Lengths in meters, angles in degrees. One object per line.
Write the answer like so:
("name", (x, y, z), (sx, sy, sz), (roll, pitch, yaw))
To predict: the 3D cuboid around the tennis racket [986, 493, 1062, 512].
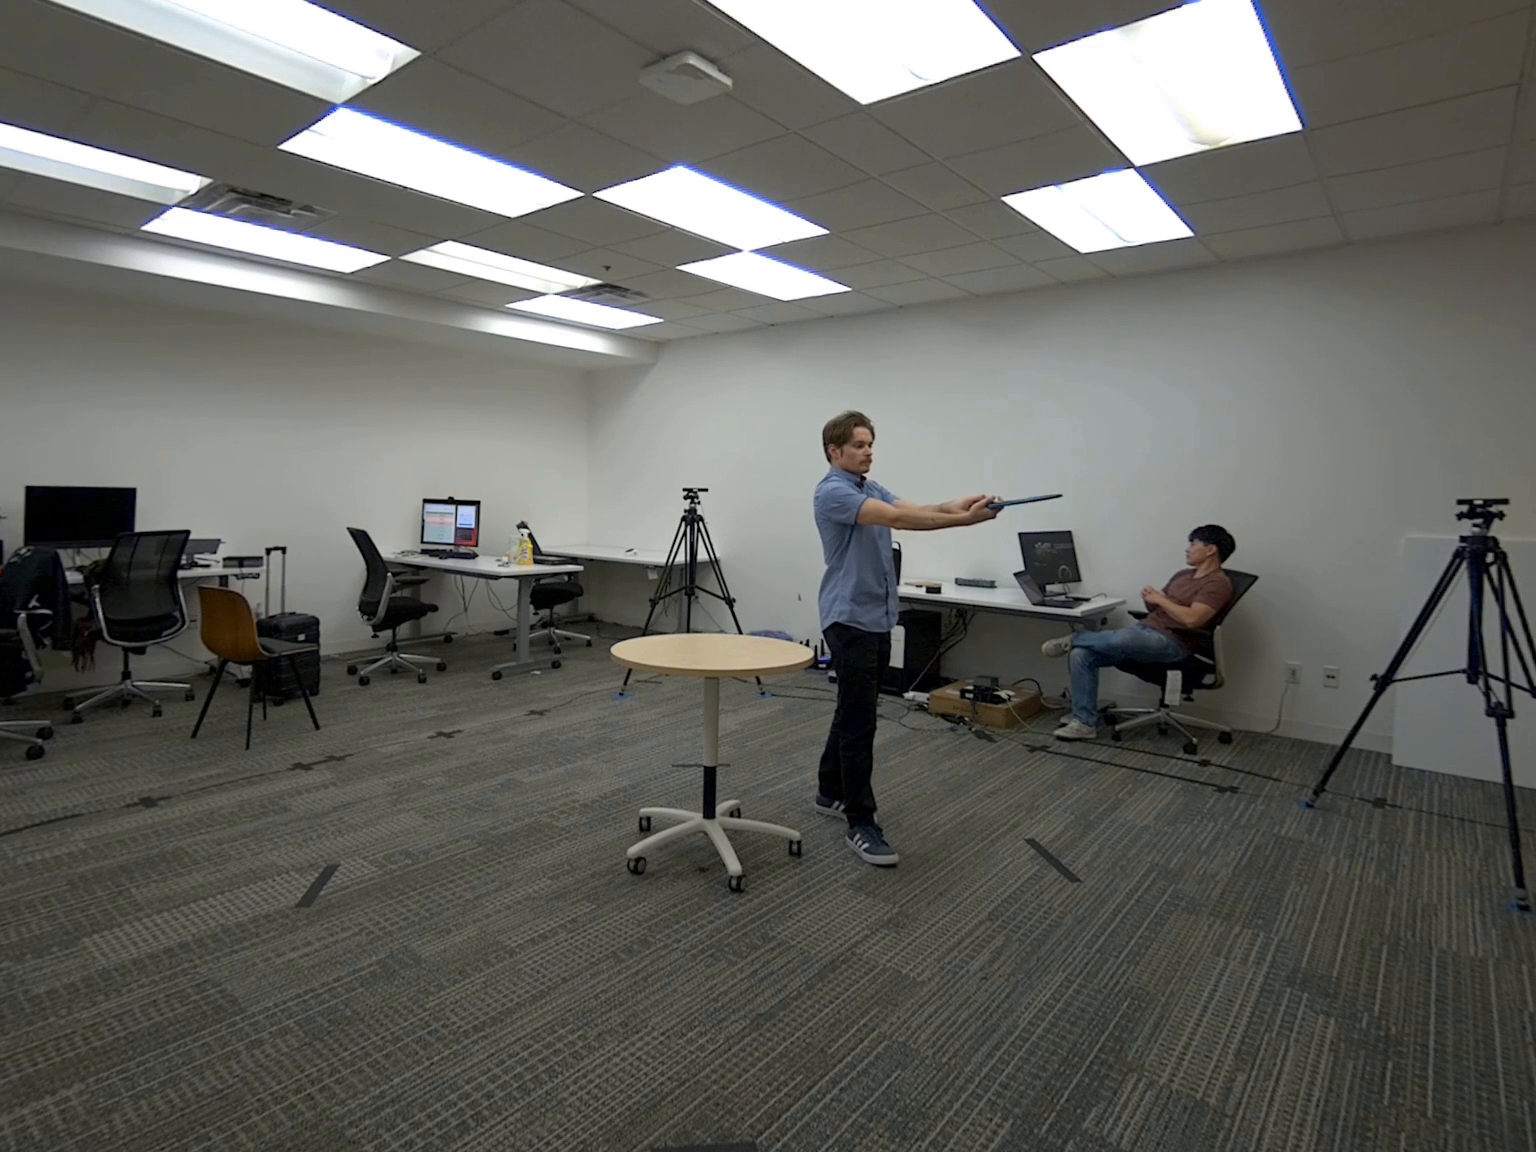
("tennis racket", (0.811, -0.256, 2.921), (0.210, 0.032, 0.441), (-12, 3, -21))
